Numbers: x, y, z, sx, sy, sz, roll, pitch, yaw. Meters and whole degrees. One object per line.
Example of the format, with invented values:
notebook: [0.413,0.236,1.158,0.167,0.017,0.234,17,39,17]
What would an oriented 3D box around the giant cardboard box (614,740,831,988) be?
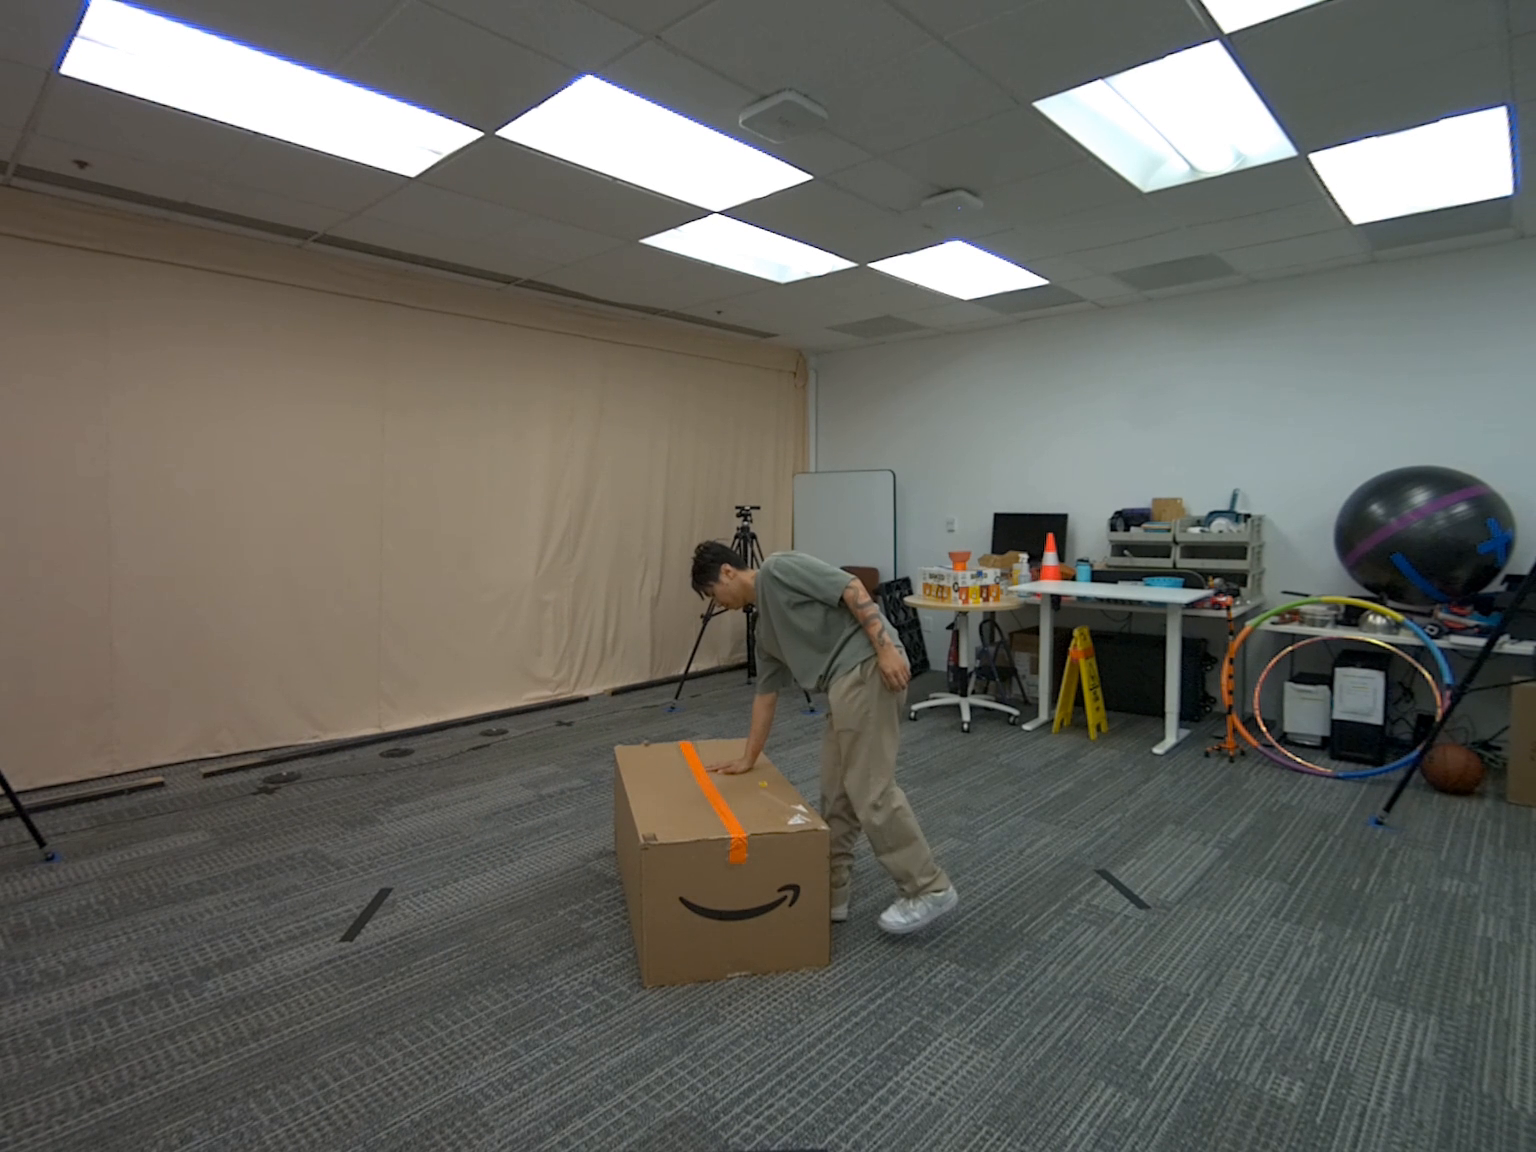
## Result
giant cardboard box: [-0.219,0.933,2.975,0.569,0.425,1.043,0,4,-14]
